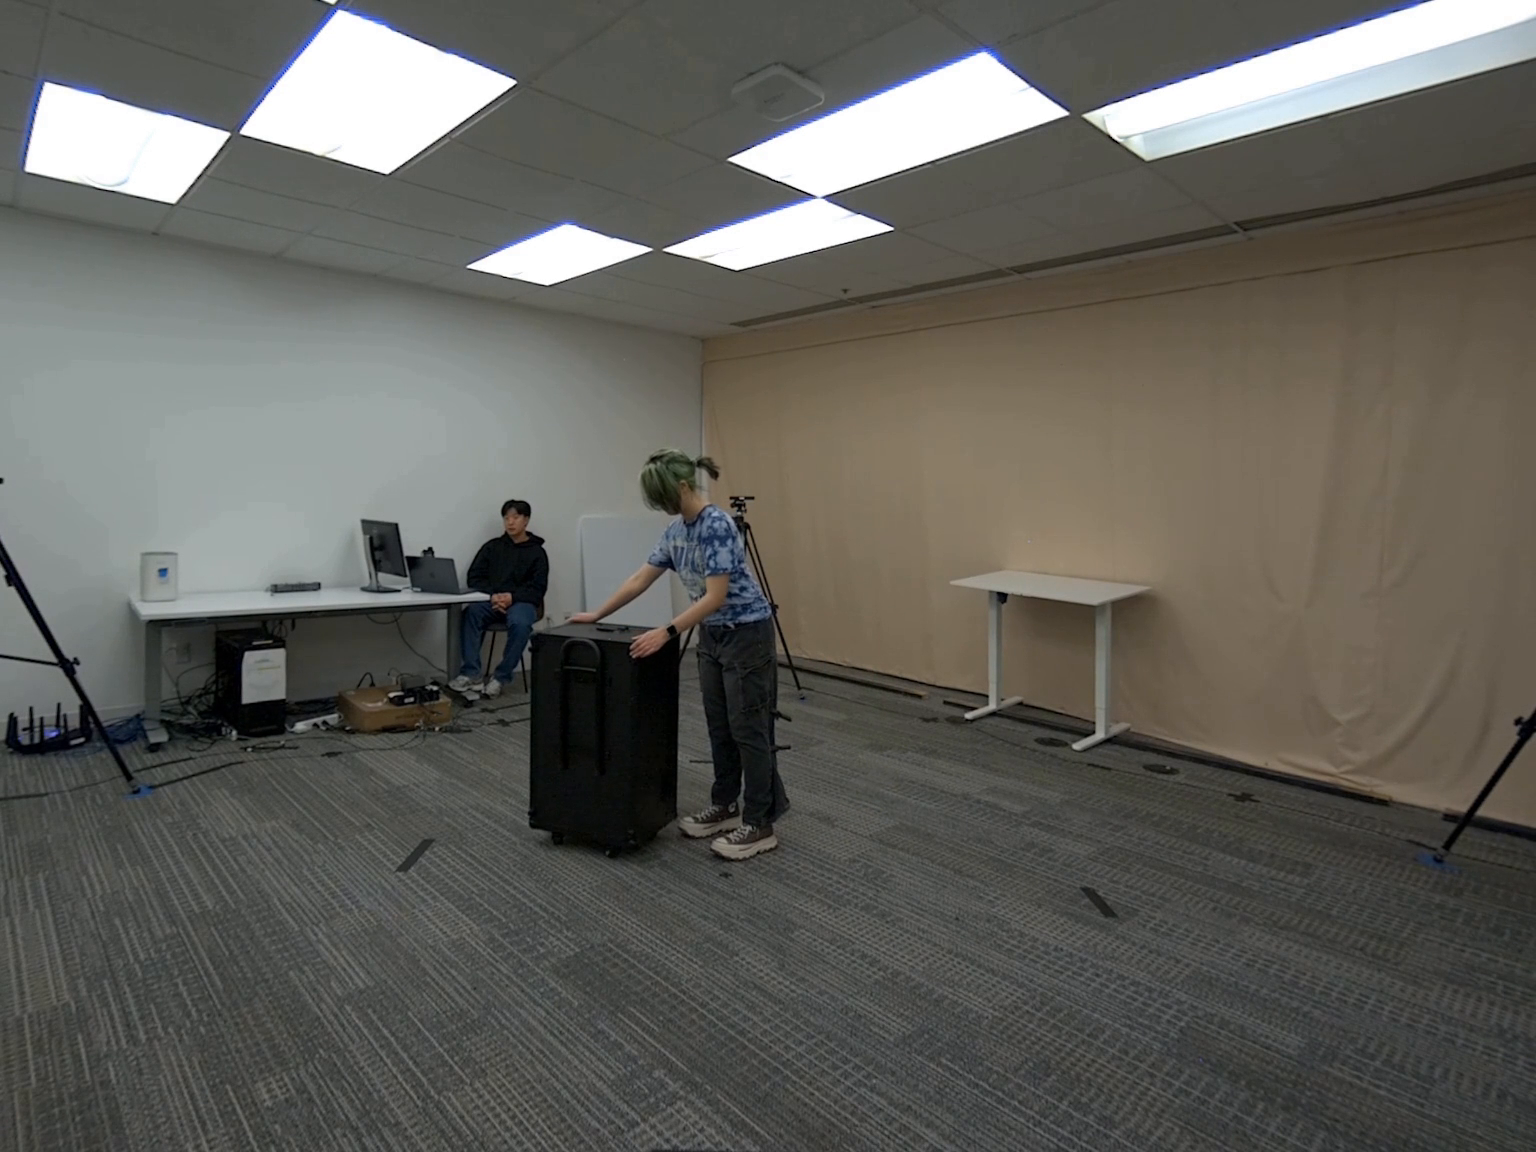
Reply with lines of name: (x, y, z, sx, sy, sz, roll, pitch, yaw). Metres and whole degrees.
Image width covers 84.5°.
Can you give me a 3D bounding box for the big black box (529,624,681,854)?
big black box: (-0.653, 0.646, 3.364, 0.531, 0.859, 0.390, 3, 5, 23)
